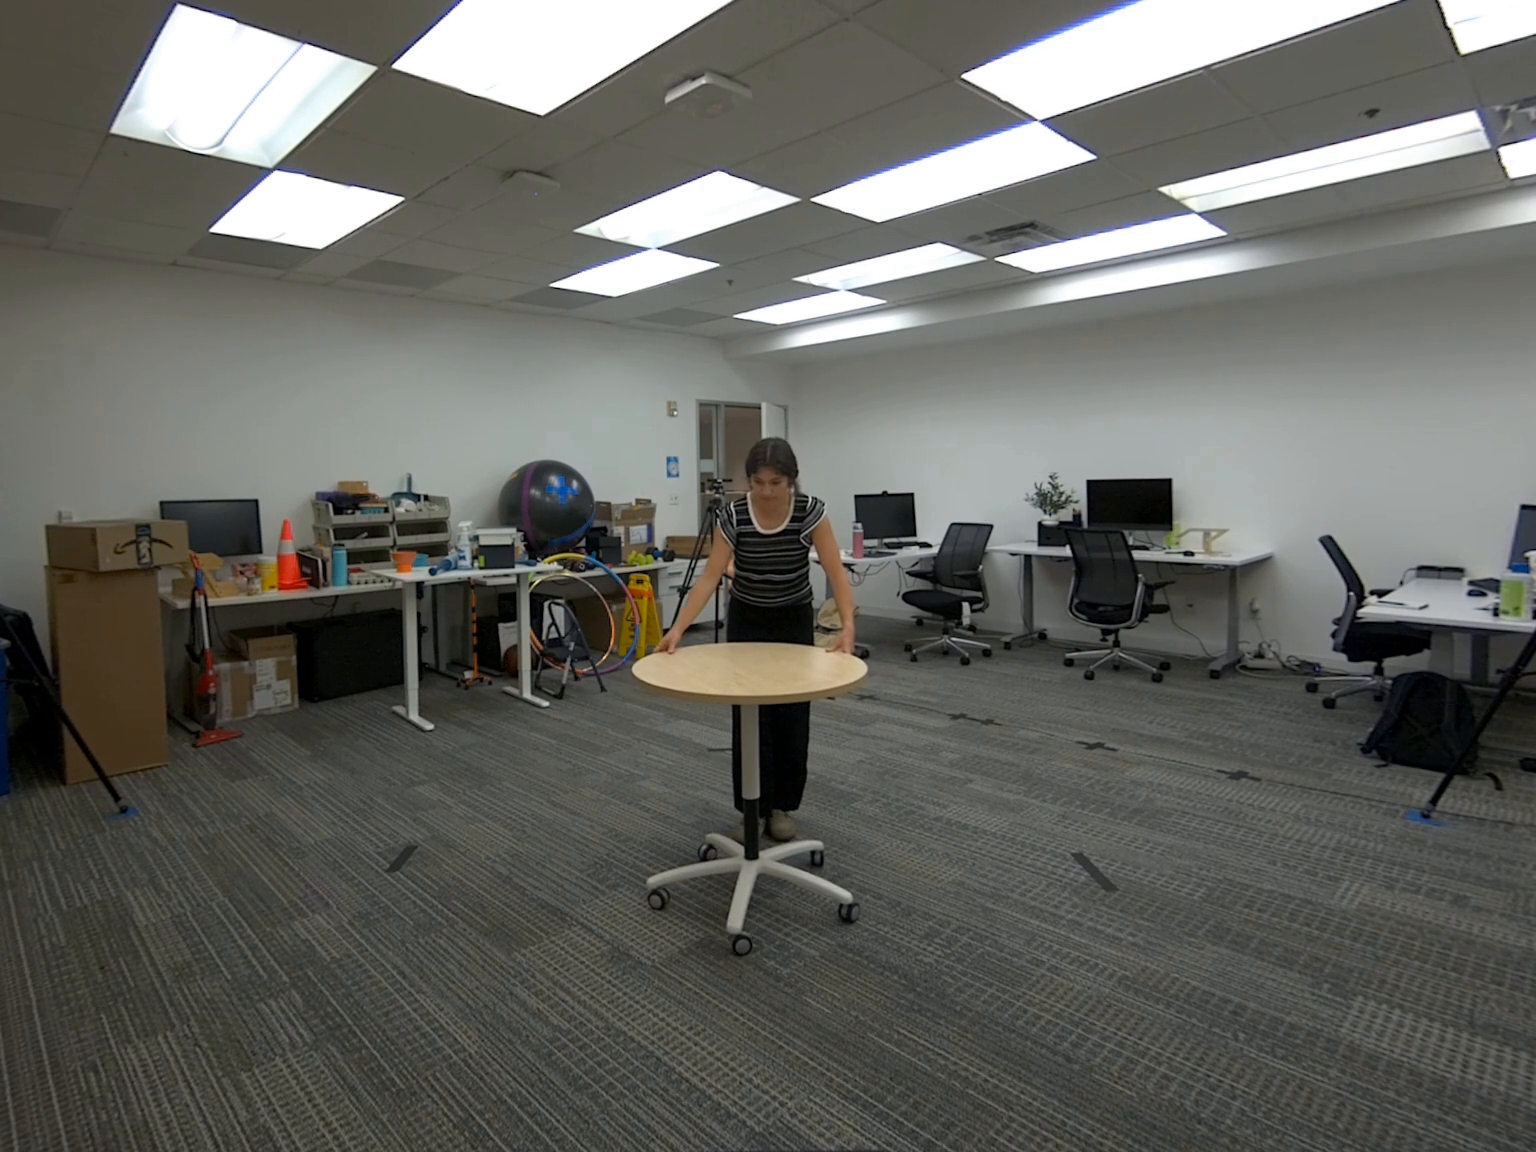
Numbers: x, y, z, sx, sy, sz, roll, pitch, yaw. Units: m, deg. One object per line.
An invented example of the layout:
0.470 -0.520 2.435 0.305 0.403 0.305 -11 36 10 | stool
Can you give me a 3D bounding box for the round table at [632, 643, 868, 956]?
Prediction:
-0.060 0.686 2.810 0.784 0.783 0.789 -1 5 -2 | round table
